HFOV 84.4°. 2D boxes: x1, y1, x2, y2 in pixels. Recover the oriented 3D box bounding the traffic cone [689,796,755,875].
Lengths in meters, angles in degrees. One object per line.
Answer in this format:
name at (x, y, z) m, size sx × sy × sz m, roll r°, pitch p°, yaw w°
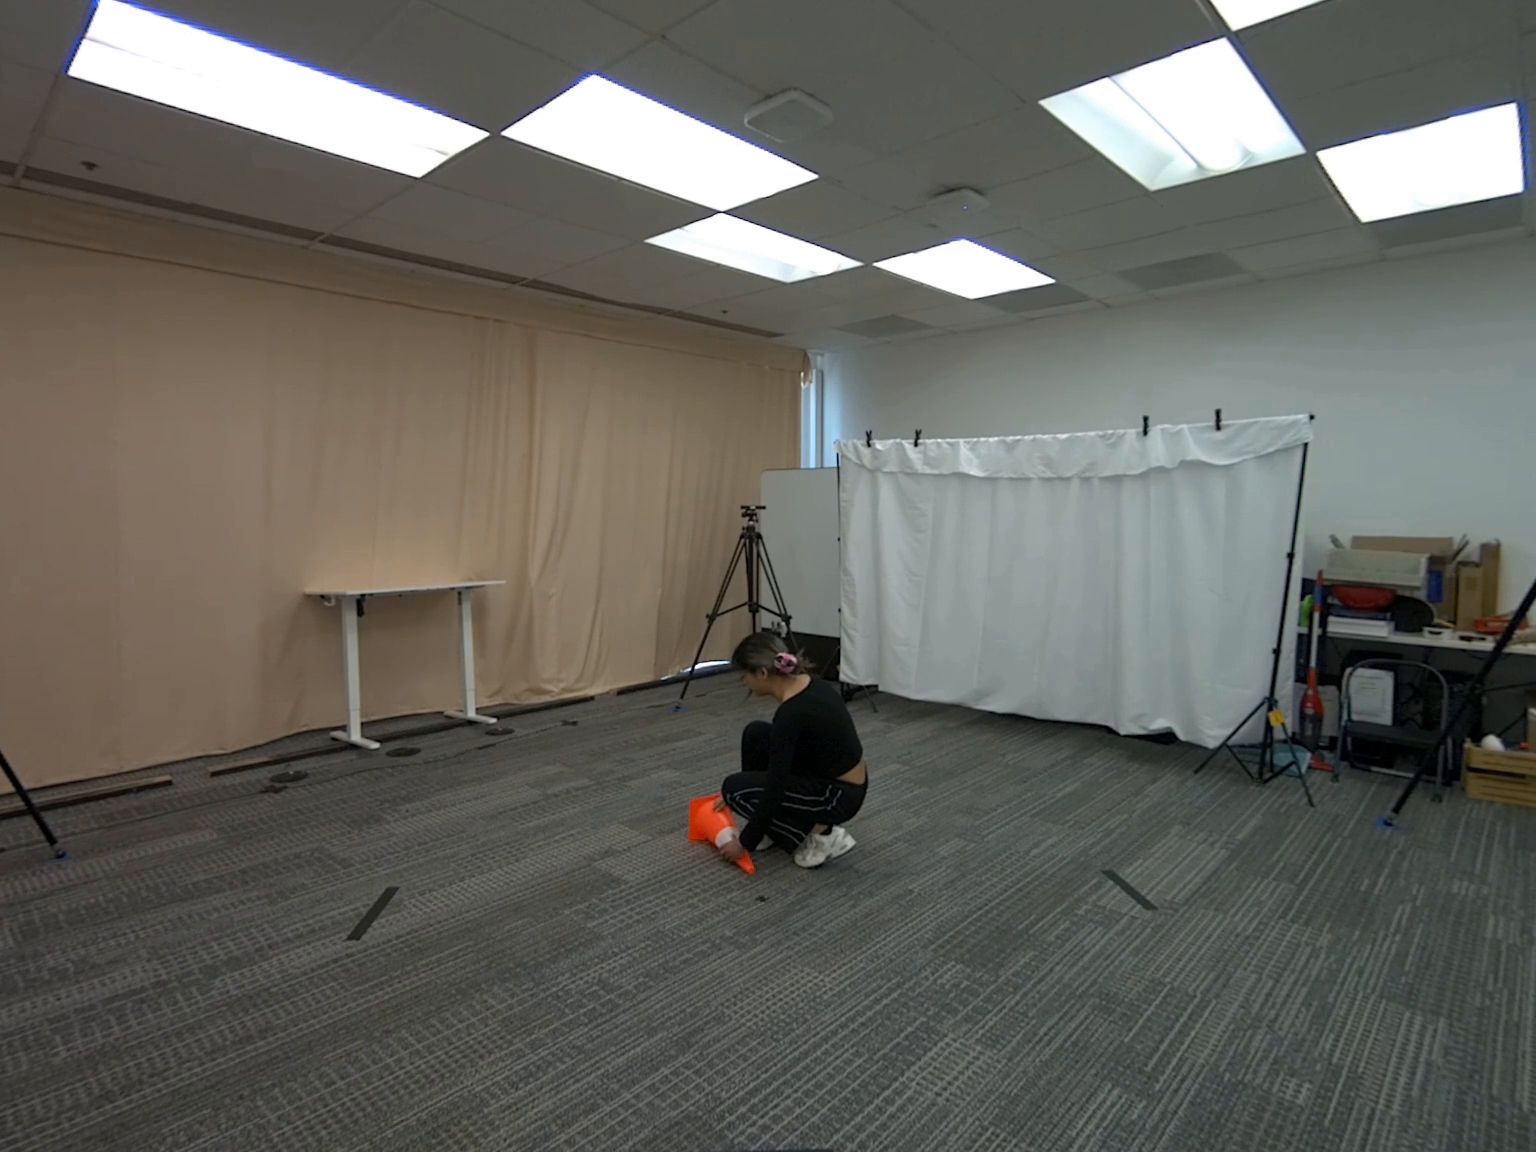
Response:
traffic cone at (-0.150, 1.062, 3.348) m, size 0.199 × 0.203 × 0.396 m, roll -4°, pitch 18°, yaw -25°
